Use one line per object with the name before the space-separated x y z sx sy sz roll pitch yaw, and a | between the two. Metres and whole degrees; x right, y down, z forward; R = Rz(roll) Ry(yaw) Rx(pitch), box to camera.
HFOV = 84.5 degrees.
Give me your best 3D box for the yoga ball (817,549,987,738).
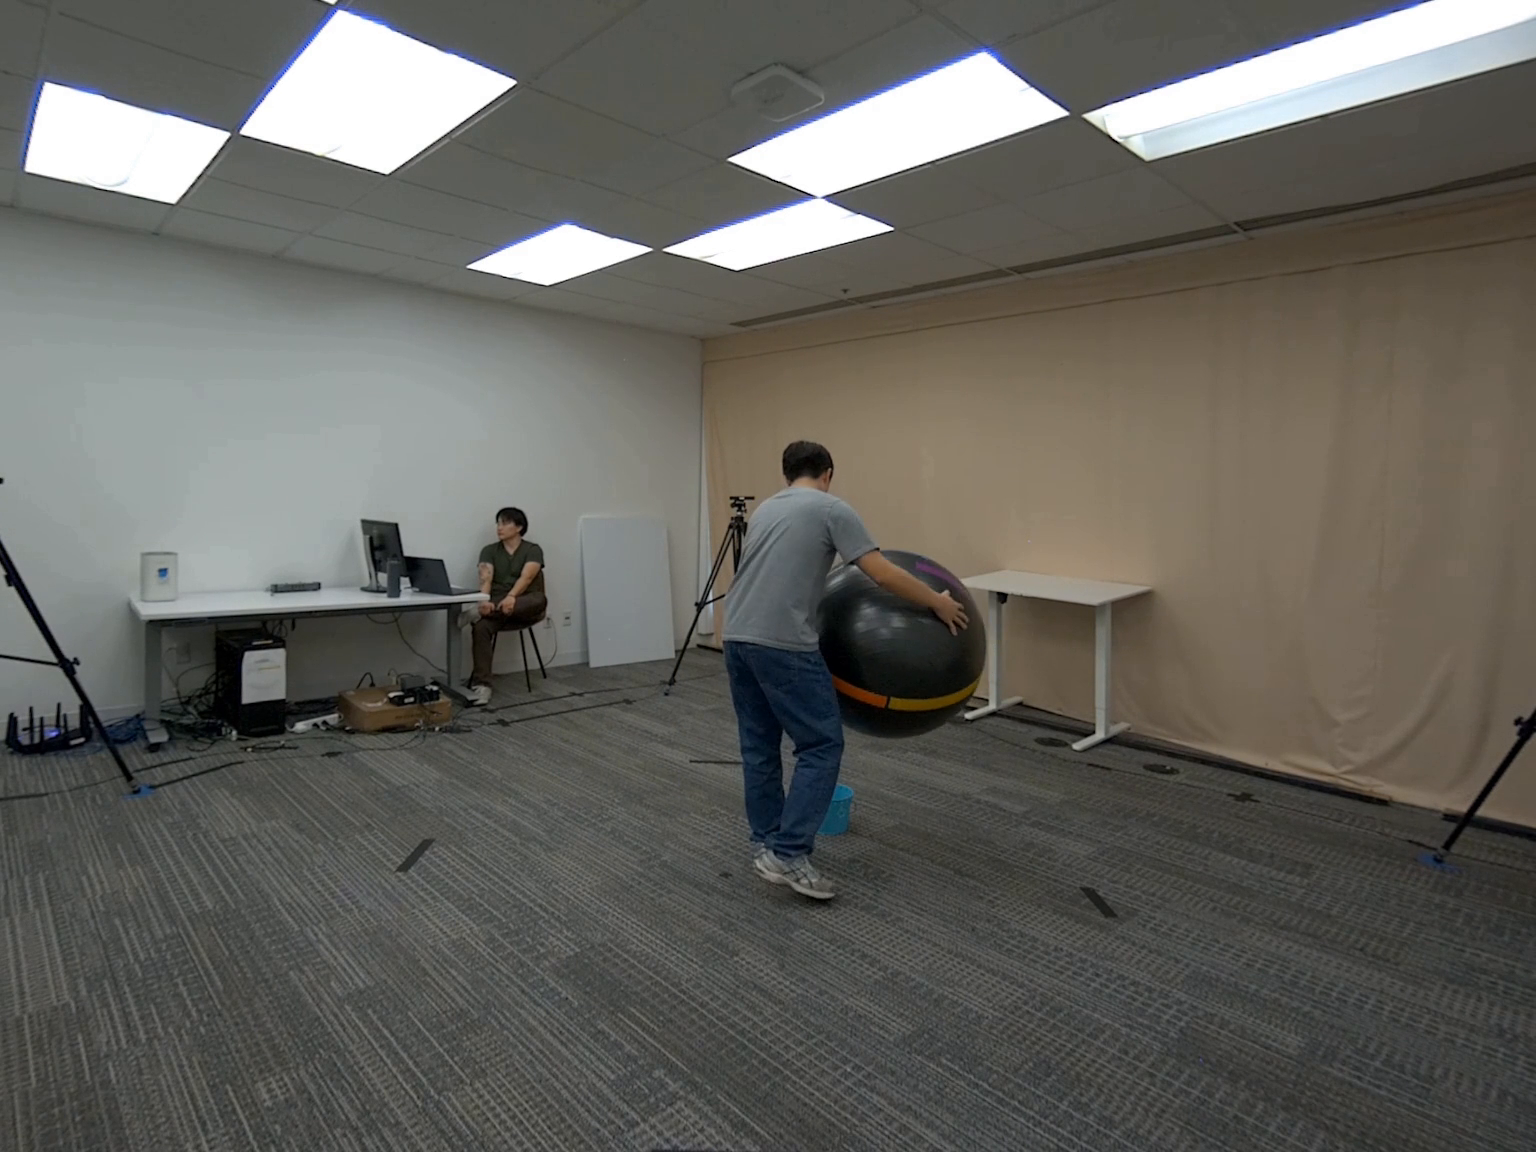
yoga ball | 0.501 0.279 3.412 0.757 0.756 0.761 1 4 -1
